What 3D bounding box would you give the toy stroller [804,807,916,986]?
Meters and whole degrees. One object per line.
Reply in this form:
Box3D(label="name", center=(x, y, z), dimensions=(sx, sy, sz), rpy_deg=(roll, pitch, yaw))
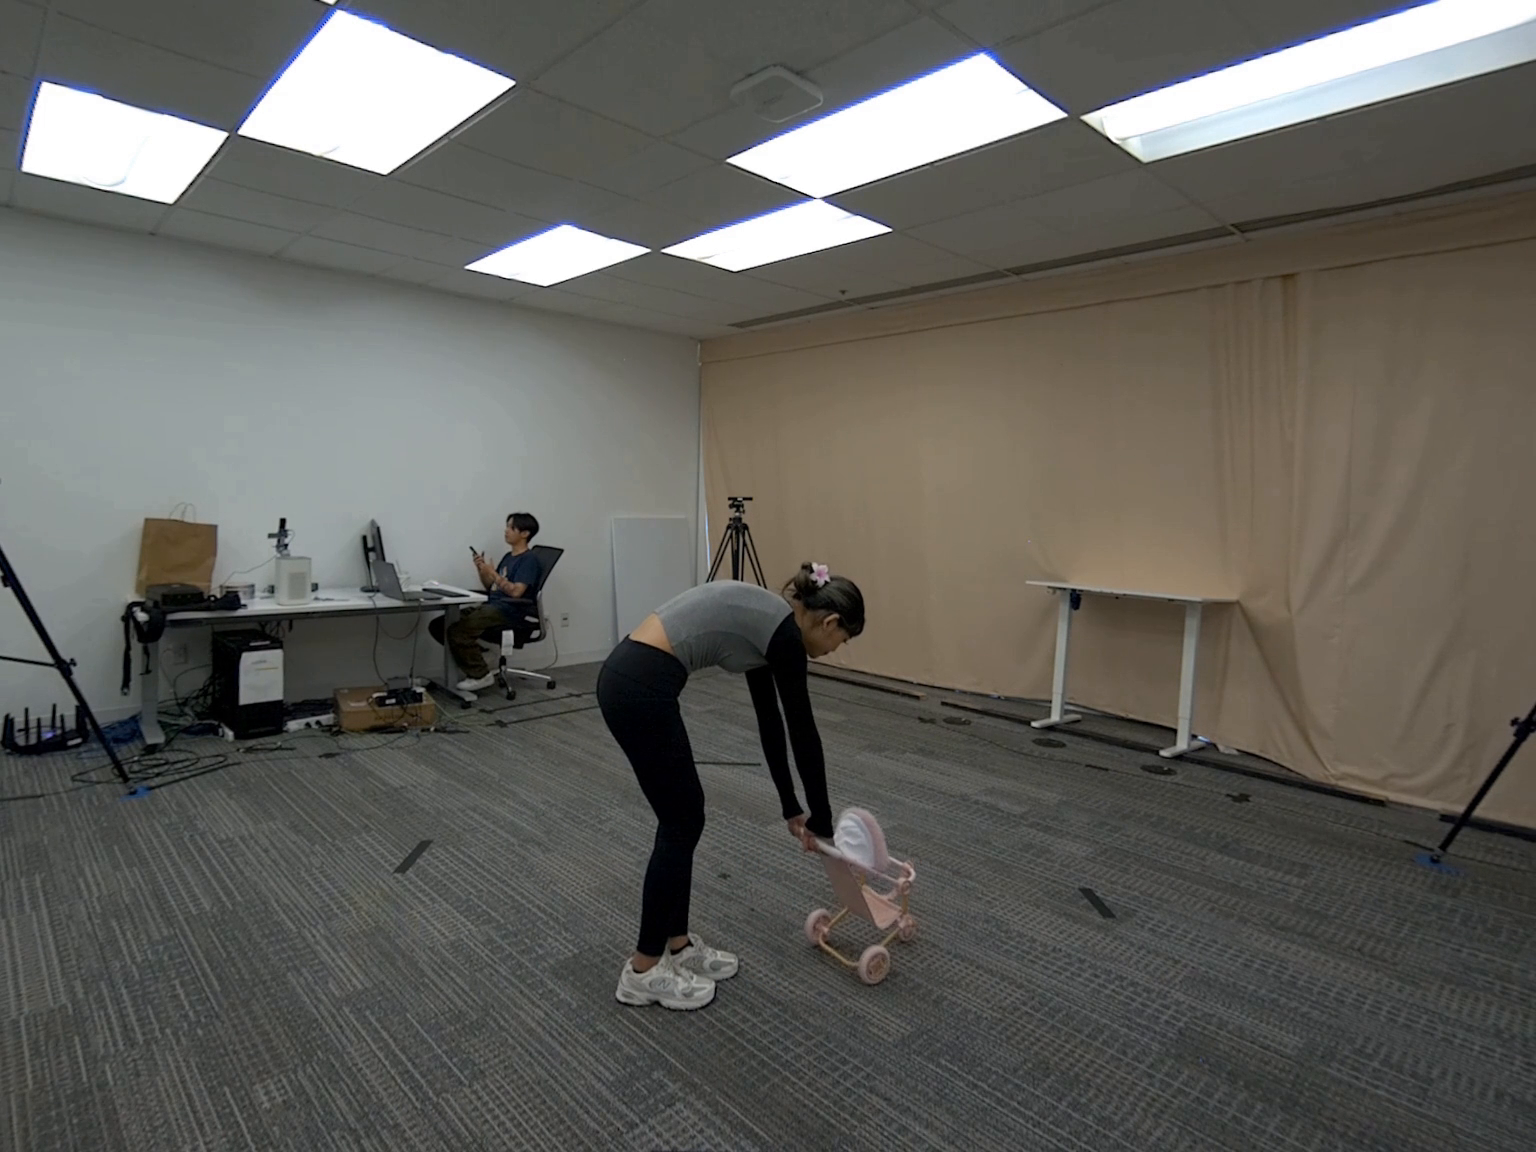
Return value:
Box3D(label="toy stroller", center=(0.280, 0.941, 2.557), dimensions=(0.337, 0.530, 0.288), rpy_deg=(-18, 13, -29))
